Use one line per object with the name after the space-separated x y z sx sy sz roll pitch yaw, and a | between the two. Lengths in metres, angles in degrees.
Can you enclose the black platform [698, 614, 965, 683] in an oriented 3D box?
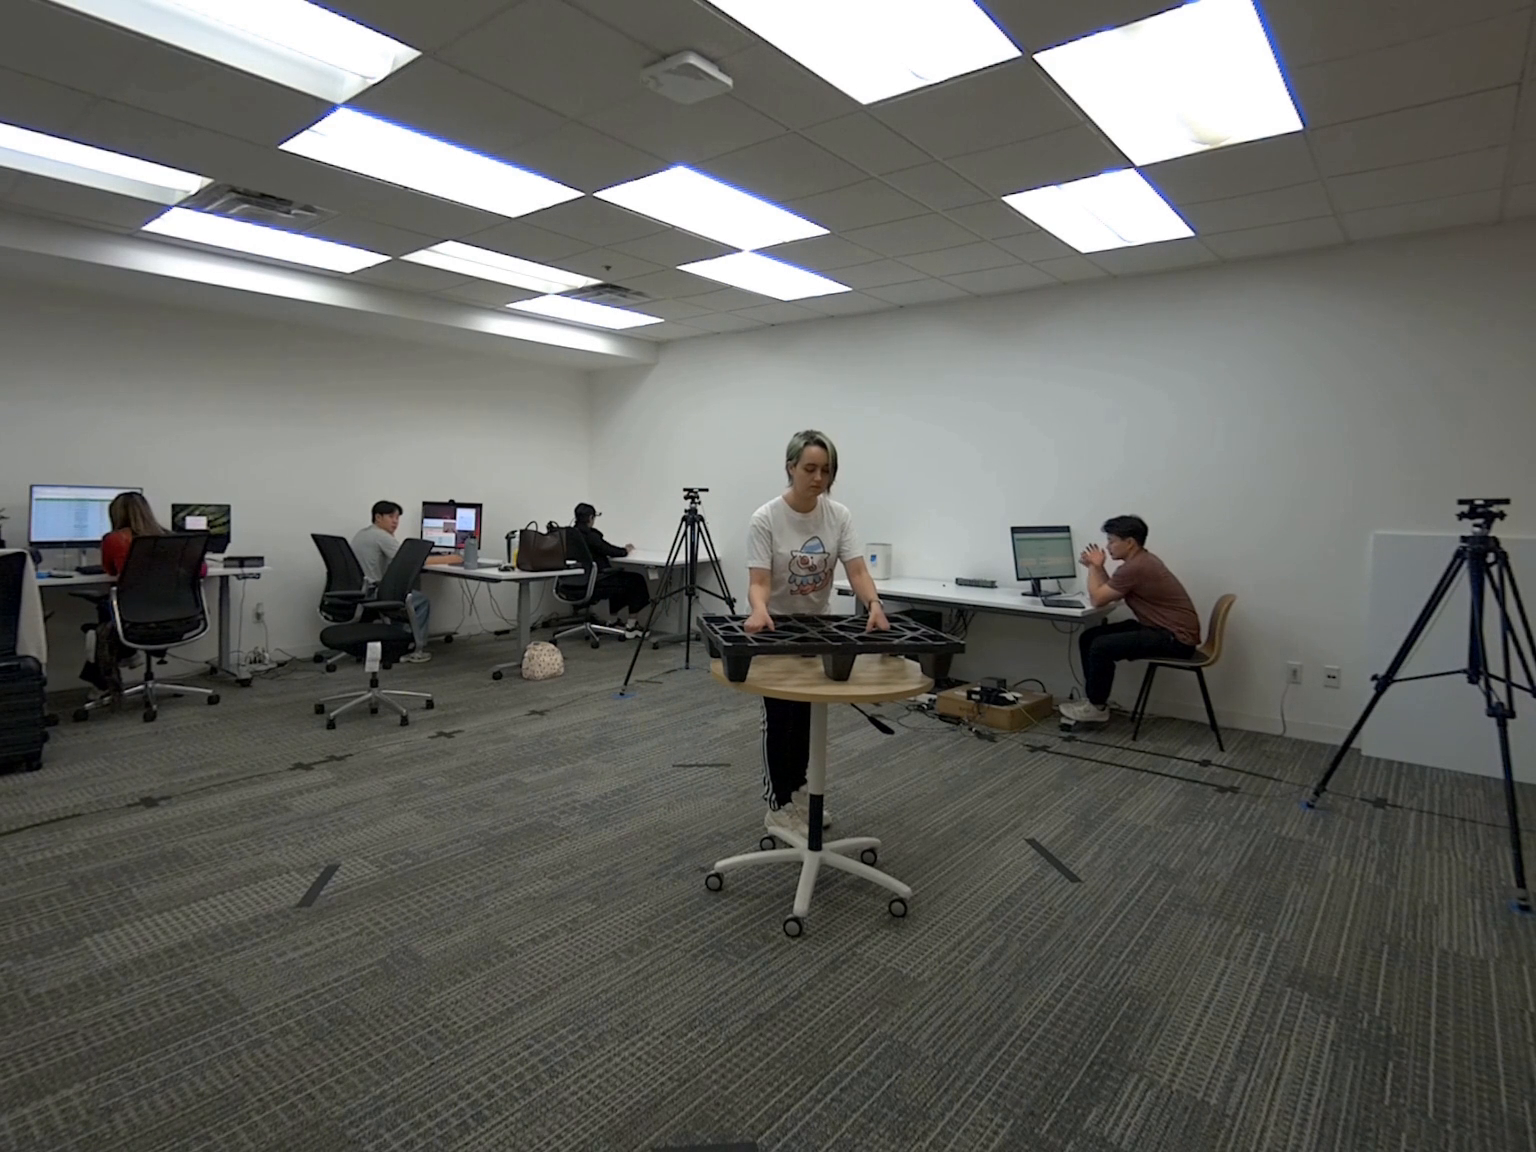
0.179 0.241 2.957 0.797 0.143 0.615 0 6 -11 | black platform
